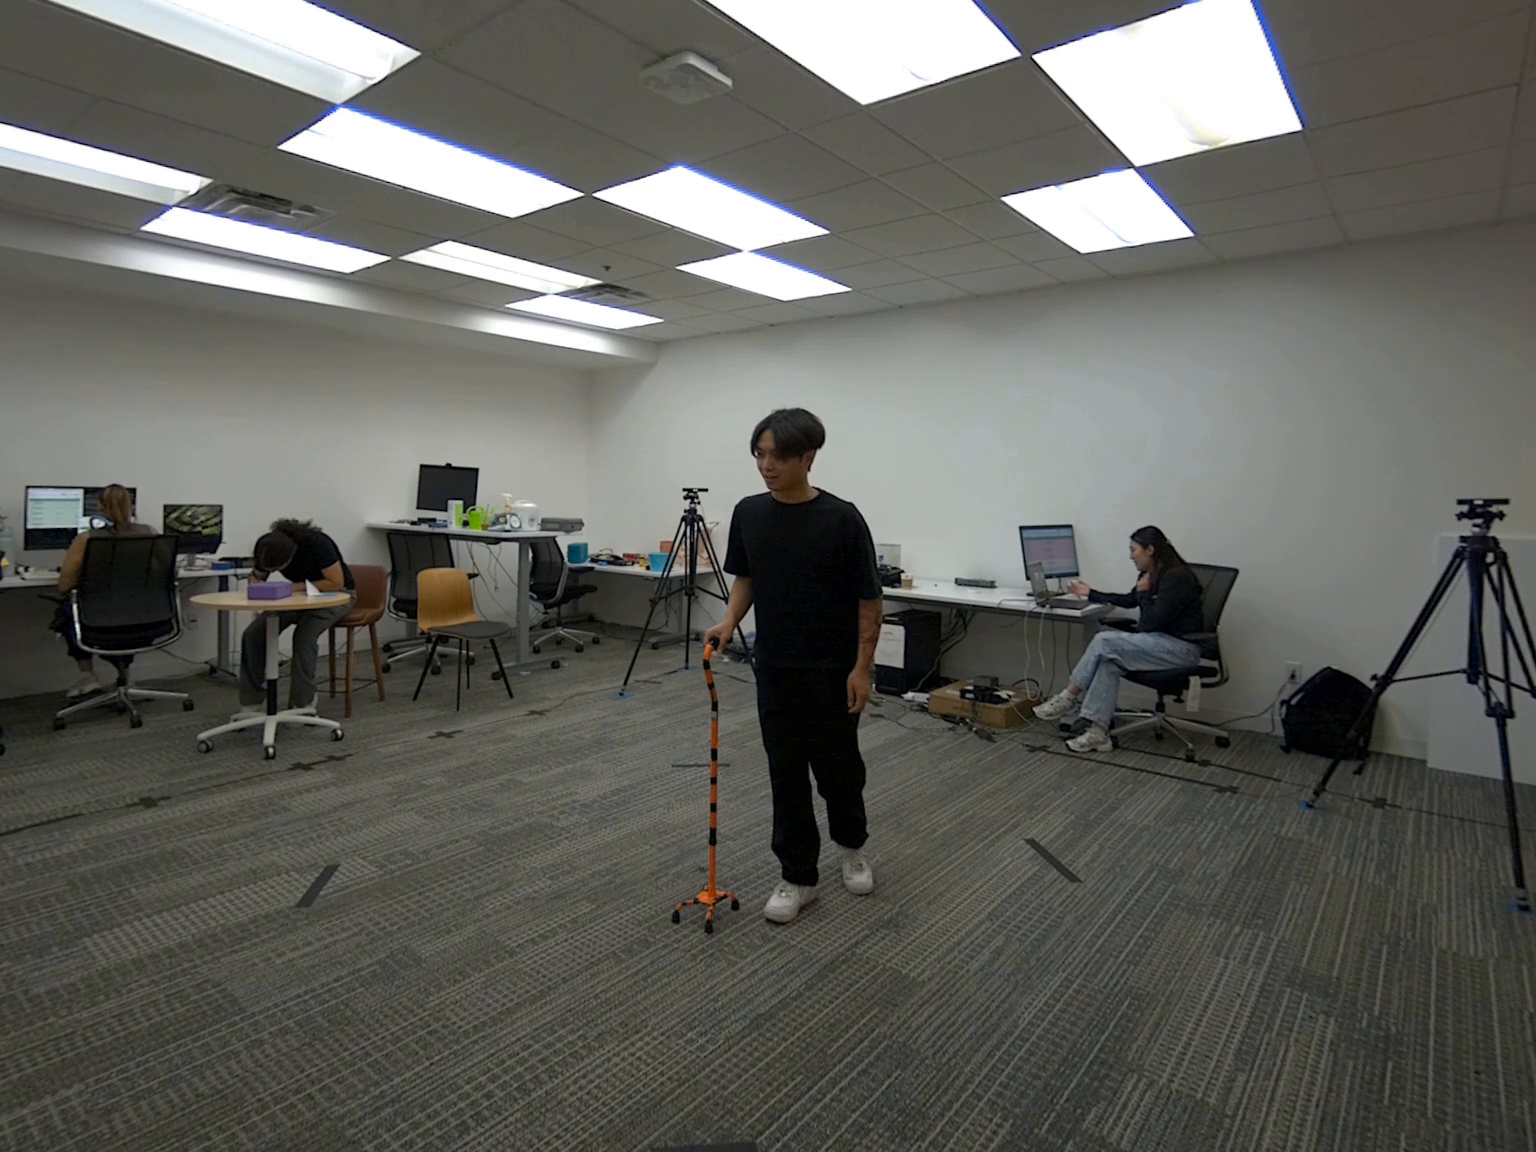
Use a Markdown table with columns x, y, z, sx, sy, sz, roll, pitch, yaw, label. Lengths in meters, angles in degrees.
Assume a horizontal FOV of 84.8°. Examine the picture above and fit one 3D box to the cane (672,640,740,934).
| x | y | z | sx | sy | sz | roll | pitch | yaw | label |
| --- | --- | --- | --- | --- | --- | --- | --- | --- | --- |
| -0.203 | 0.652 | 2.759 | 0.156 | 0.906 | 0.201 | 2 | 3 | 27 | cane |
